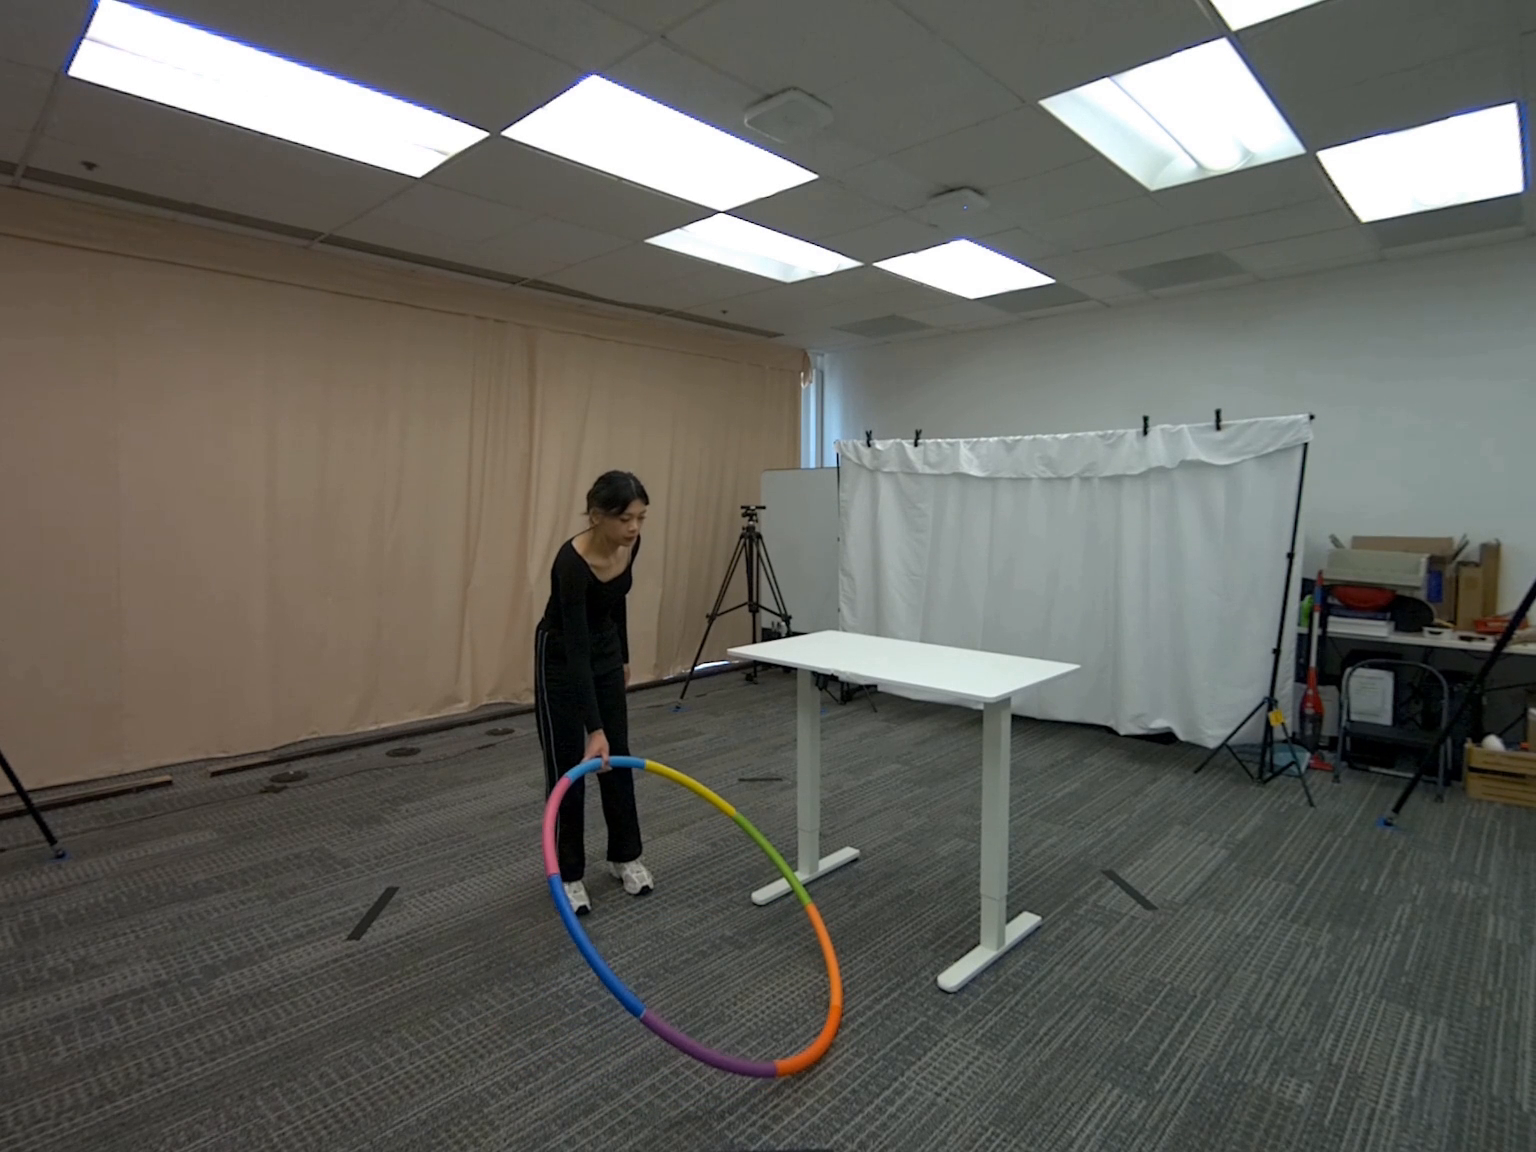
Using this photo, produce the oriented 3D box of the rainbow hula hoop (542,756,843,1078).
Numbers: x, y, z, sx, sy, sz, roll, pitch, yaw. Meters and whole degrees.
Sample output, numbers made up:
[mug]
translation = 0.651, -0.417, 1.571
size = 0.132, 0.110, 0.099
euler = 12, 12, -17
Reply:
[rainbow hula hoop]
translation = -0.190, 0.888, 2.326
size = 0.963, 0.035, 0.992
euler = 32, 17, -14
